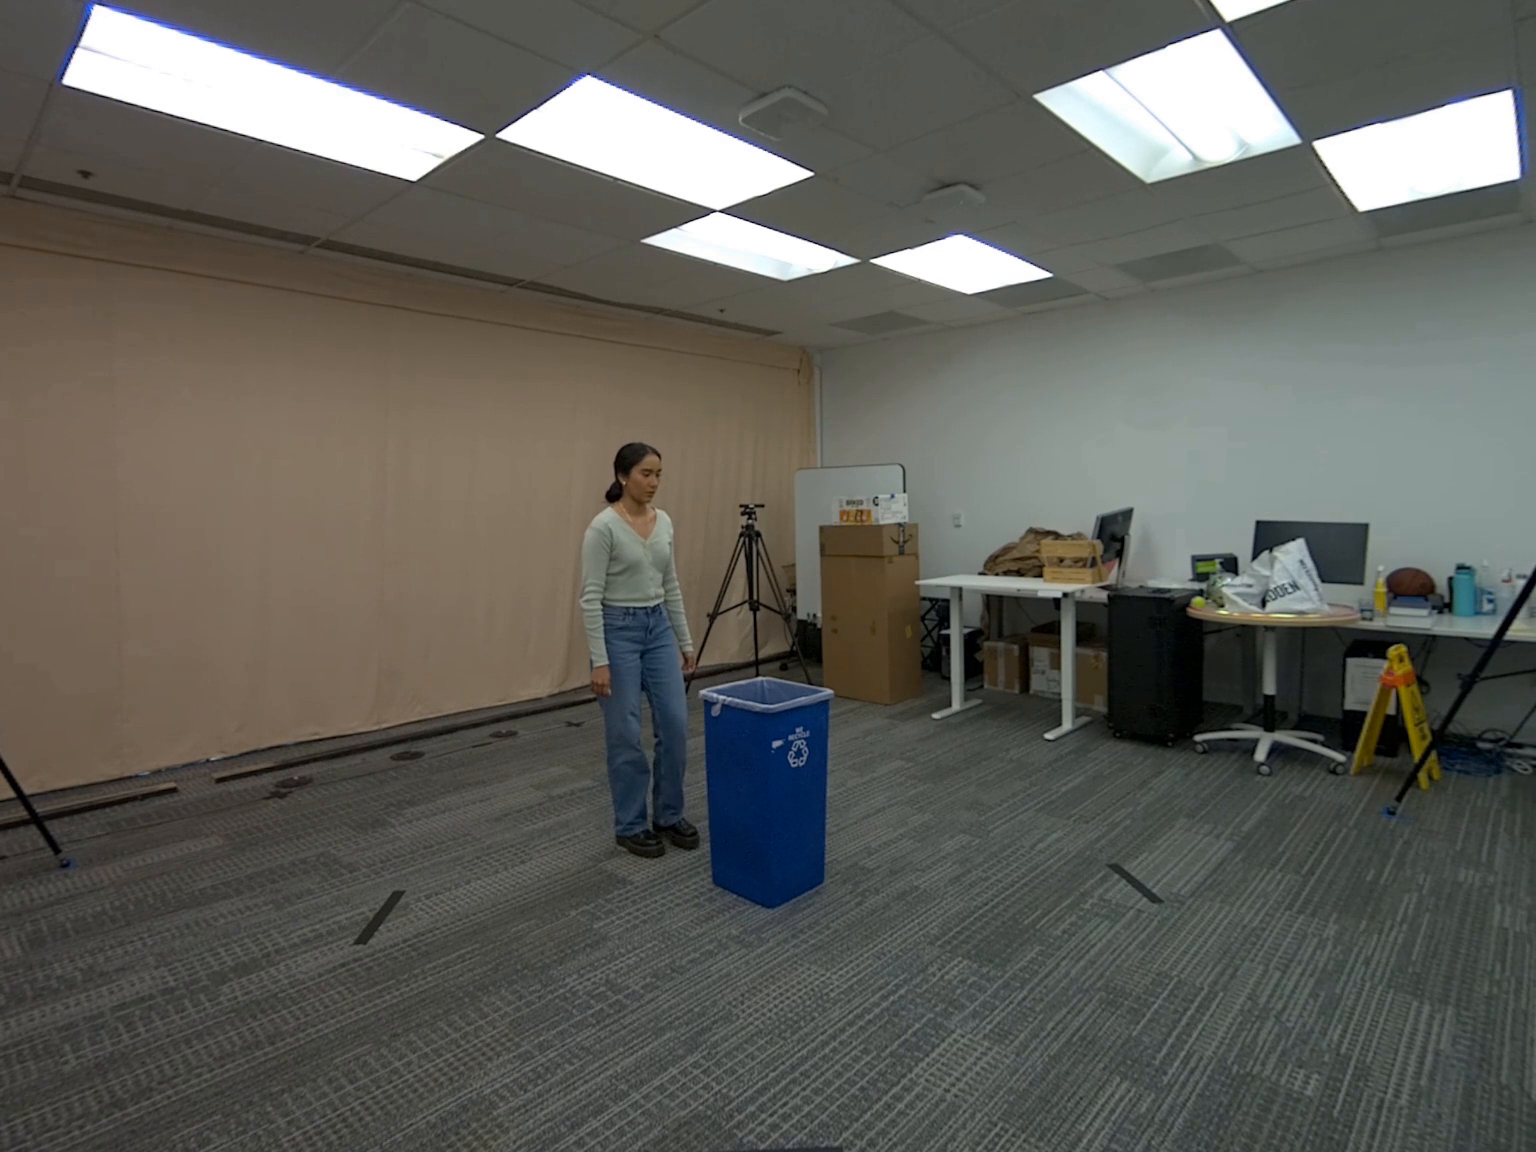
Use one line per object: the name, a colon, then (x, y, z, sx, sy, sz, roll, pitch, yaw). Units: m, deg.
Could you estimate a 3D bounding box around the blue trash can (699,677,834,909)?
blue trash can: (0.001, 0.772, 3.085, 0.391, 0.712, 0.363, 3, 5, 45)
